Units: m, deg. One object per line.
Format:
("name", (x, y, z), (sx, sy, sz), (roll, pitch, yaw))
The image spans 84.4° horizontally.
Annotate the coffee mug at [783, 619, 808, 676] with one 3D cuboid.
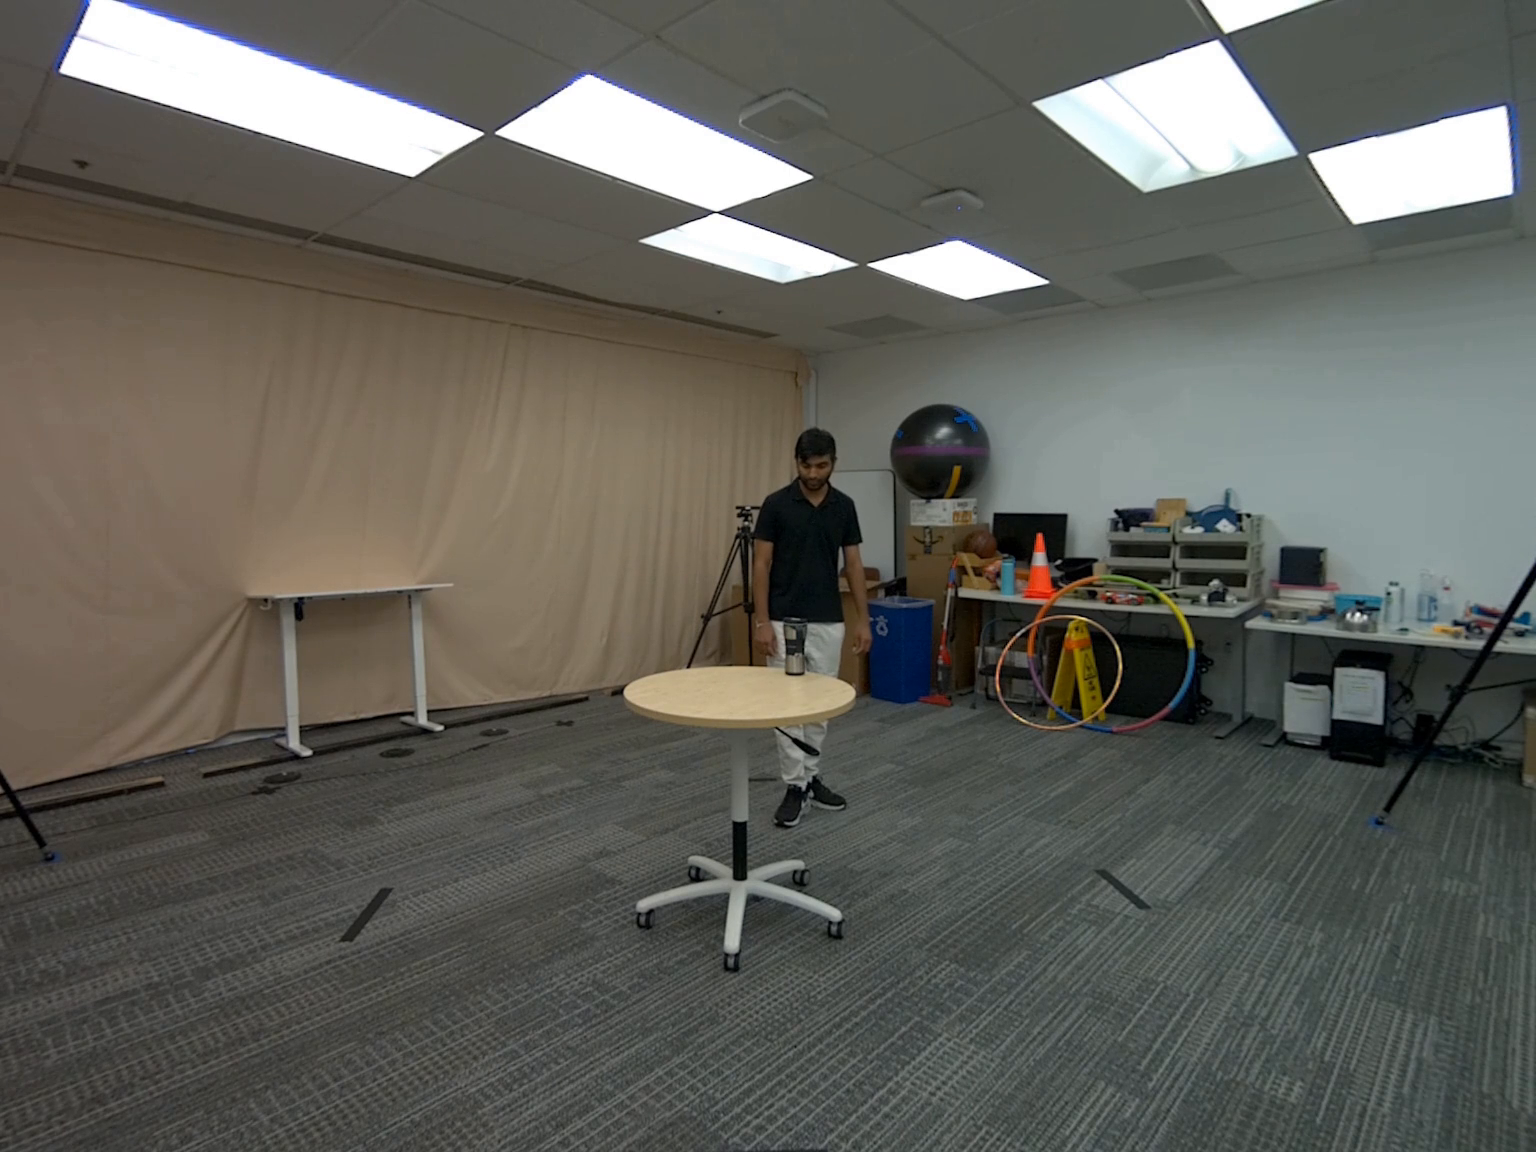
("coffee mug", (0.101, 0.258, 3.018), (0.089, 0.203, 0.121), (4, 2, 9))
